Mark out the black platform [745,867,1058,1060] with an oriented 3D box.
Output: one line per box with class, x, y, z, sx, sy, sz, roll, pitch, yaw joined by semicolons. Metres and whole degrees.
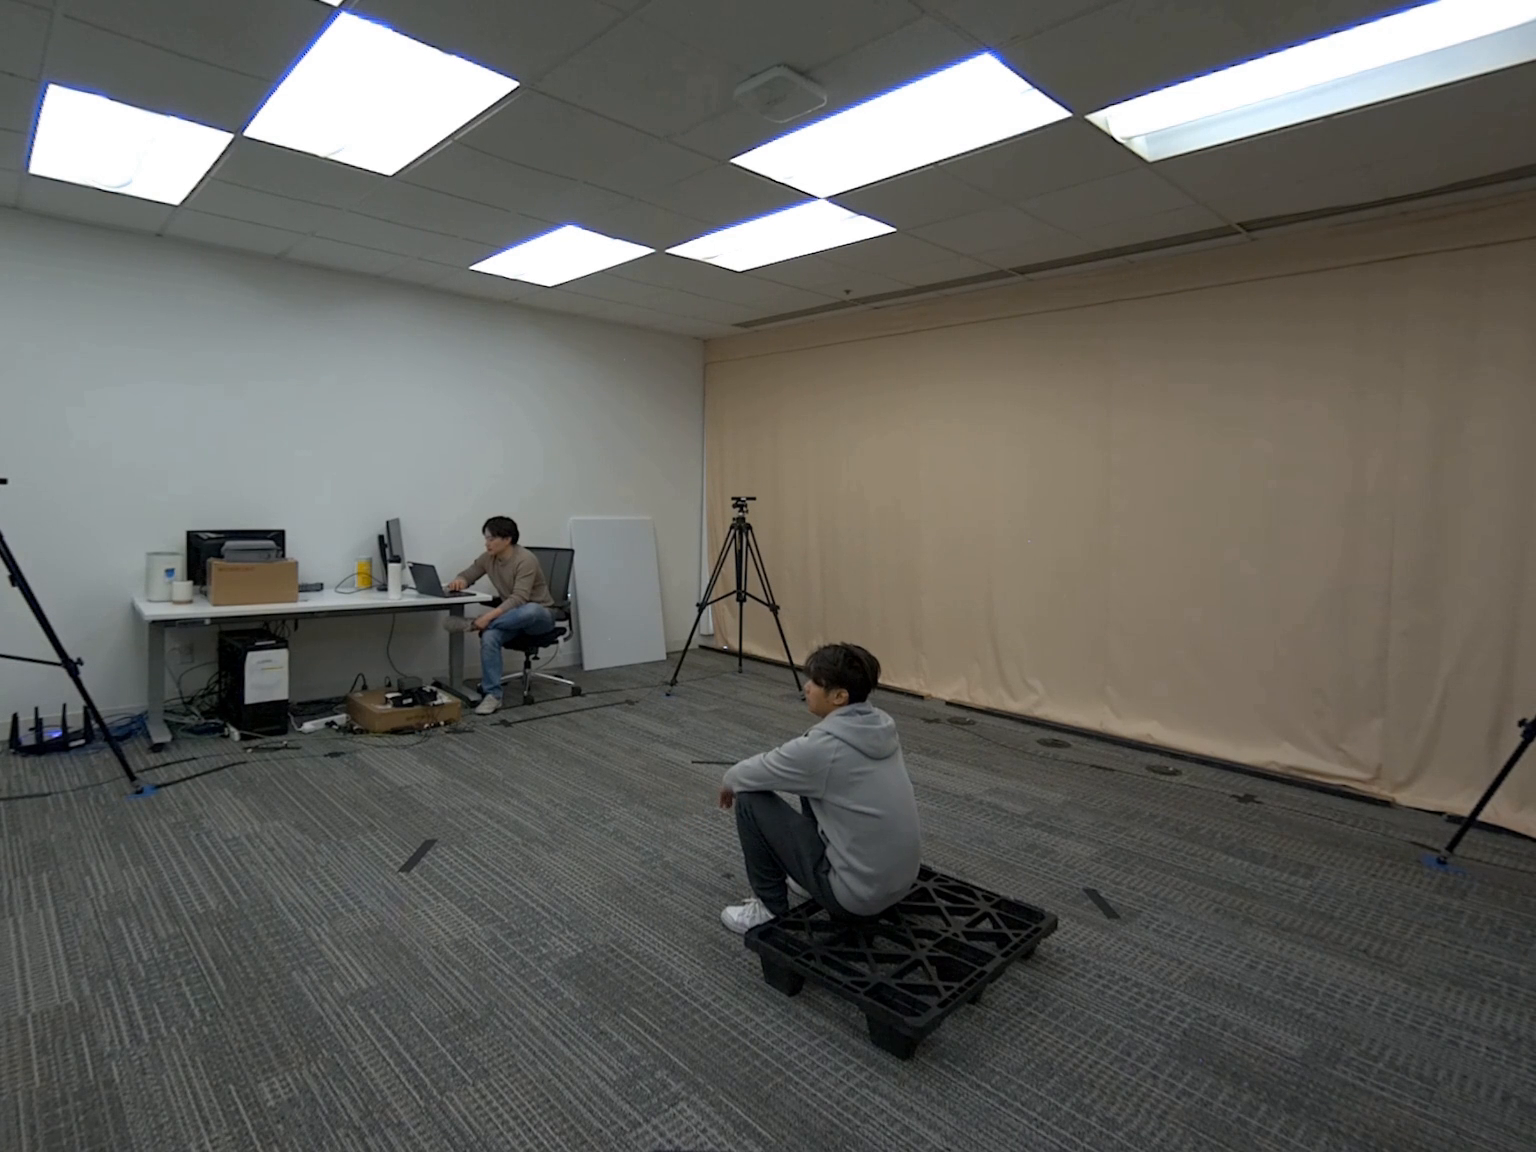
black platform;0.399;1.107;2.518;0.620;0.143;0.787;6;7;43
